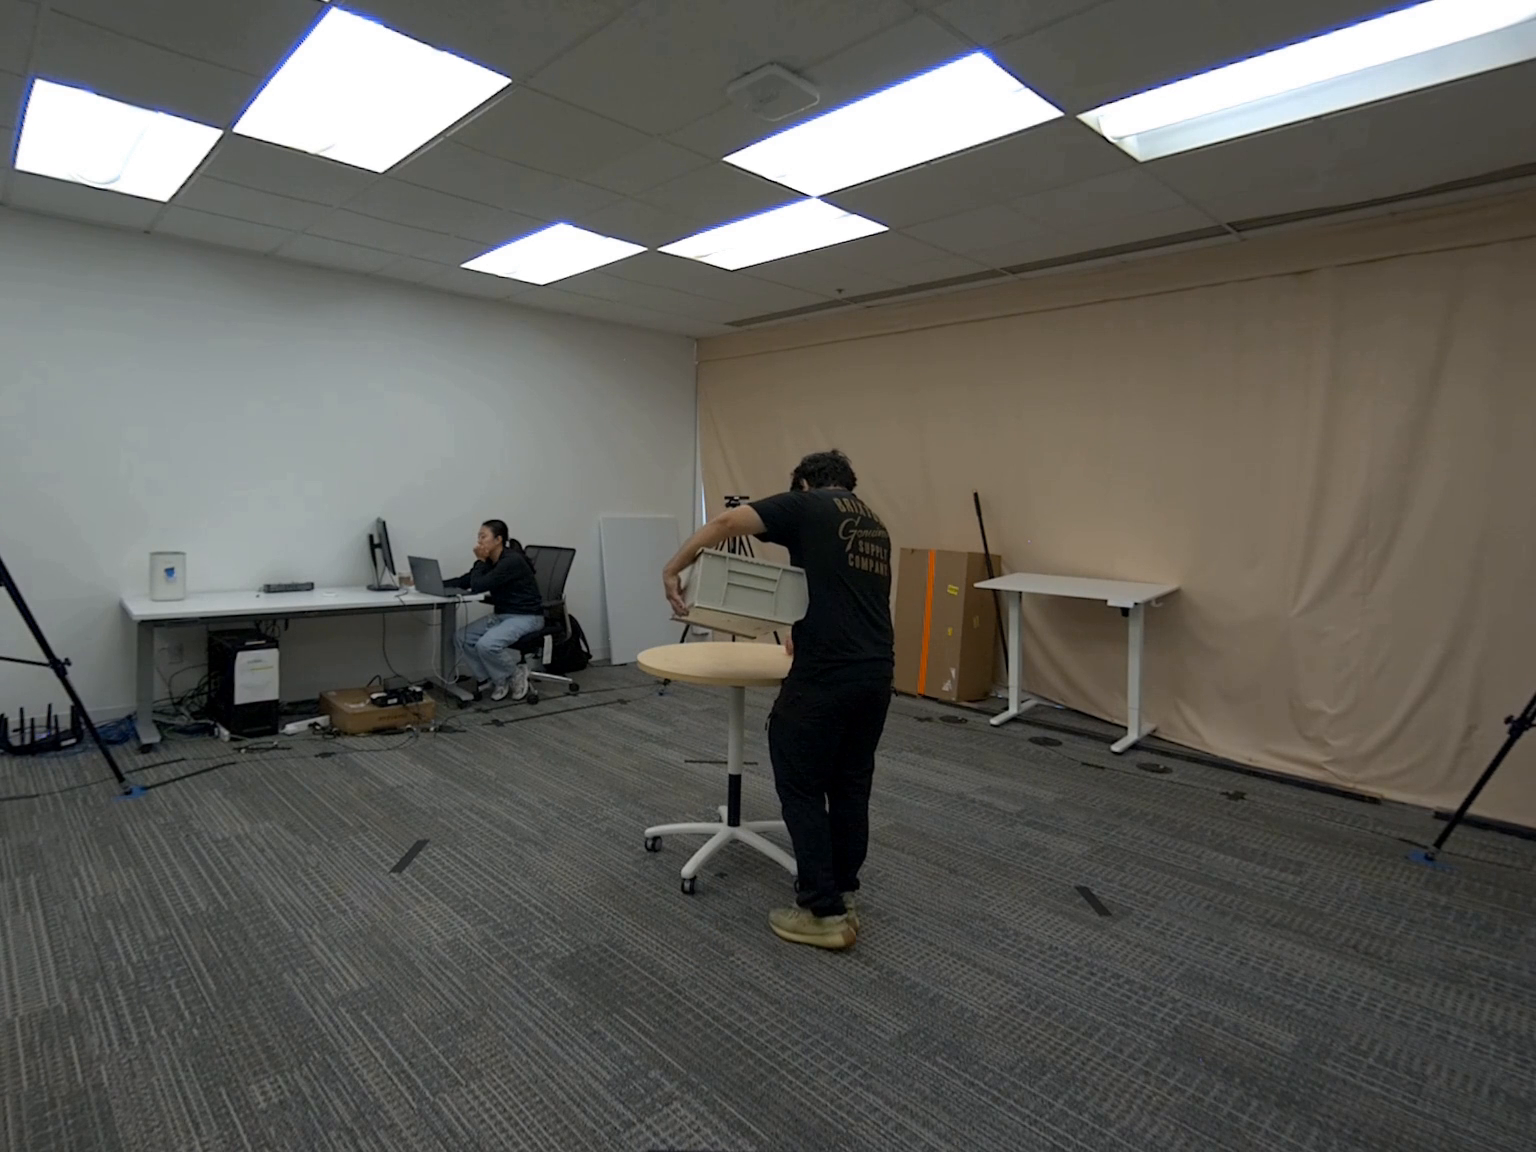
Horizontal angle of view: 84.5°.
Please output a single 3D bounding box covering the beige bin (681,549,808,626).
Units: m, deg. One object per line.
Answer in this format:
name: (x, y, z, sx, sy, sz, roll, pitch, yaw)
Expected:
beige bin: (-0.098, 0.075, 2.766, 0.372, 0.190, 0.425, 12, -12, -15)
